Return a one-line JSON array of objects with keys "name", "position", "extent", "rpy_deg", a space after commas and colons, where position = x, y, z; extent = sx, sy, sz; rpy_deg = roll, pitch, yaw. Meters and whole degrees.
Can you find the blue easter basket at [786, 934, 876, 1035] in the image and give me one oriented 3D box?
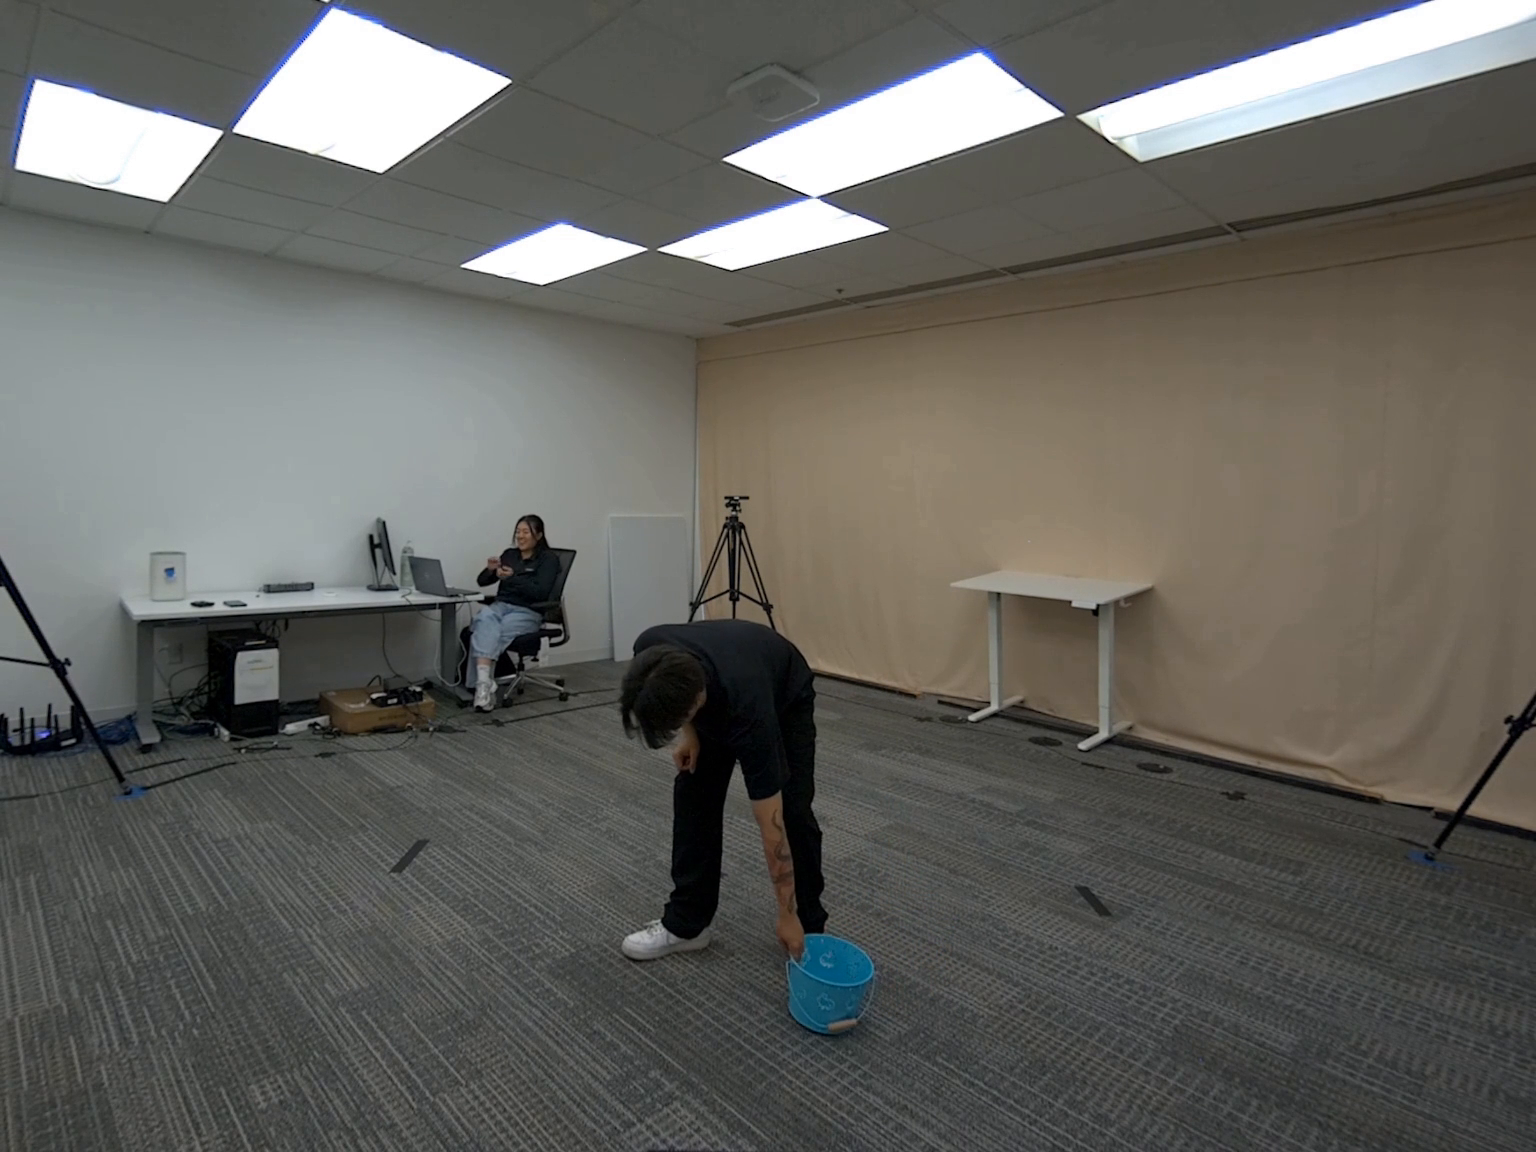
[{"name": "blue easter basket", "position": [0.148, 1.108, 2.271], "extent": [0.243, 0.155, 0.245], "rpy_deg": [7, 5, -2]}]
